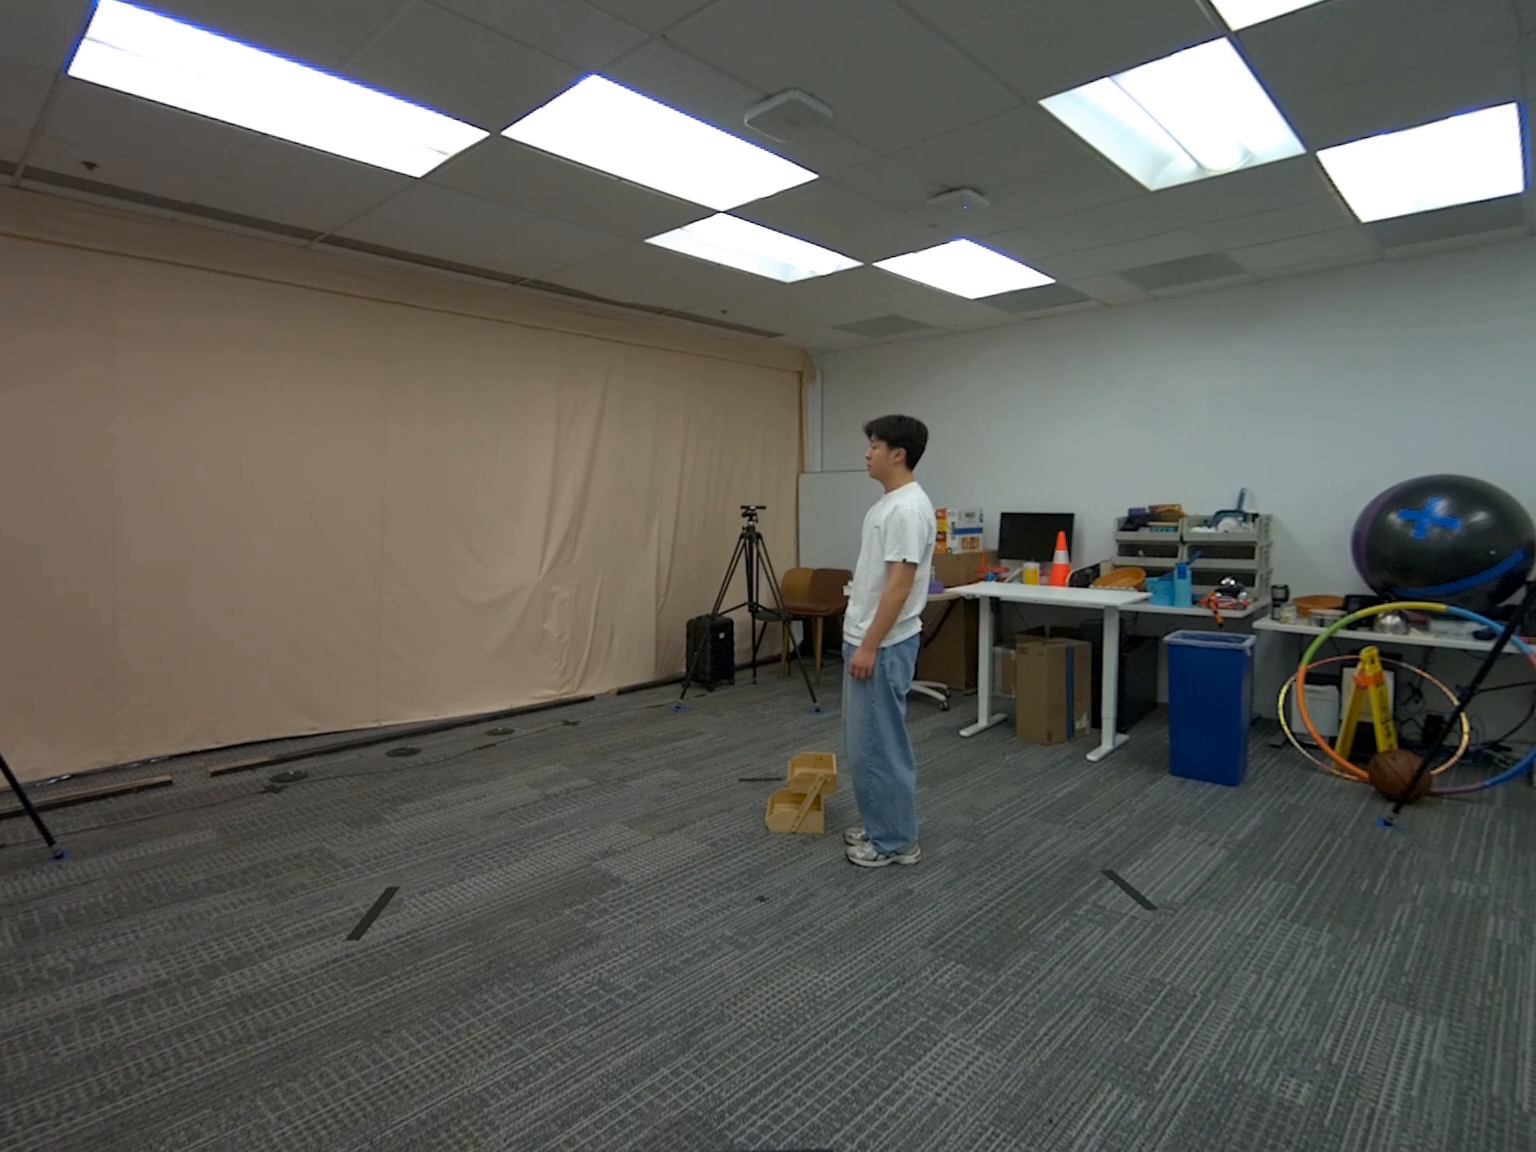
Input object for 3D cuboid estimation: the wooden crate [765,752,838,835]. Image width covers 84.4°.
[{"bbox_3d":[0.144,0.950,3.738,0.304,0.273,0.323,1,4,4],"label":"wooden crate"}]
